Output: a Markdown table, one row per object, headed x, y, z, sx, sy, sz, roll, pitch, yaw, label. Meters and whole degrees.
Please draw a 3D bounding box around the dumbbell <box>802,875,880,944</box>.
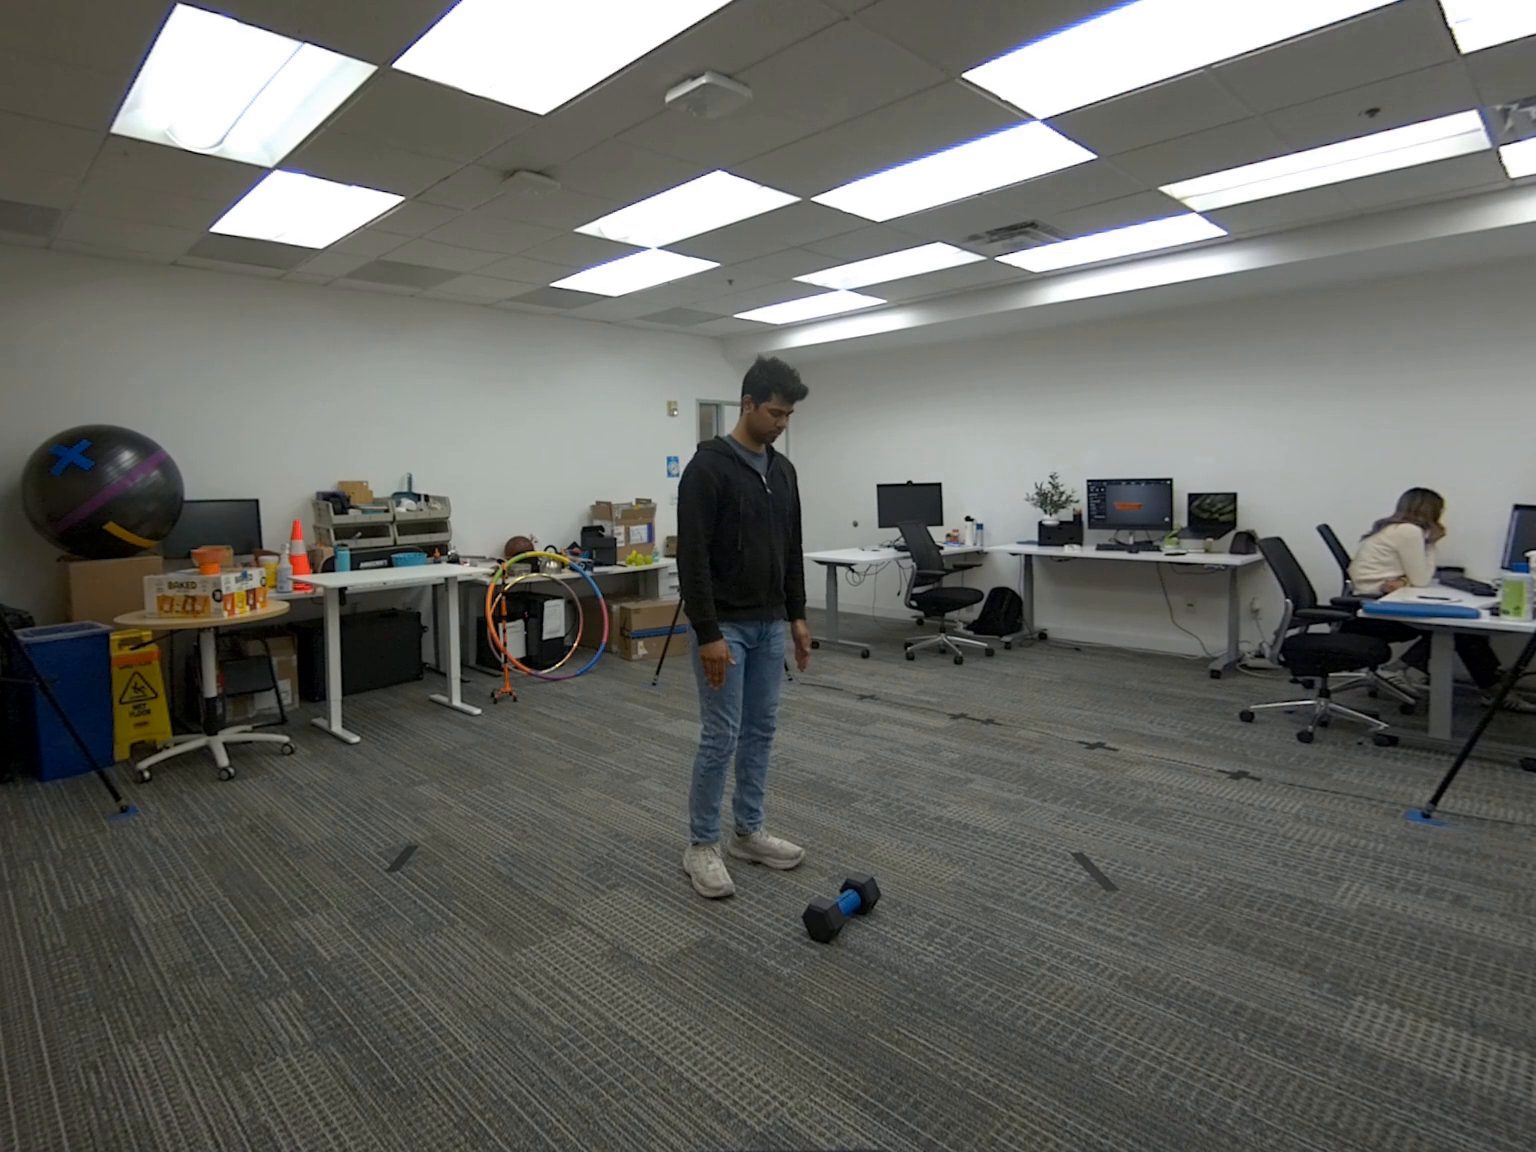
| x | y | z | sx | sy | sz | roll | pitch | yaw | label |
| --- | --- | --- | --- | --- | --- | --- | --- | --- | --- |
| 0.239 | 1.036 | 2.676 | 0.126 | 0.108 | 0.286 | 1 | 6 | 38 | dumbbell |
